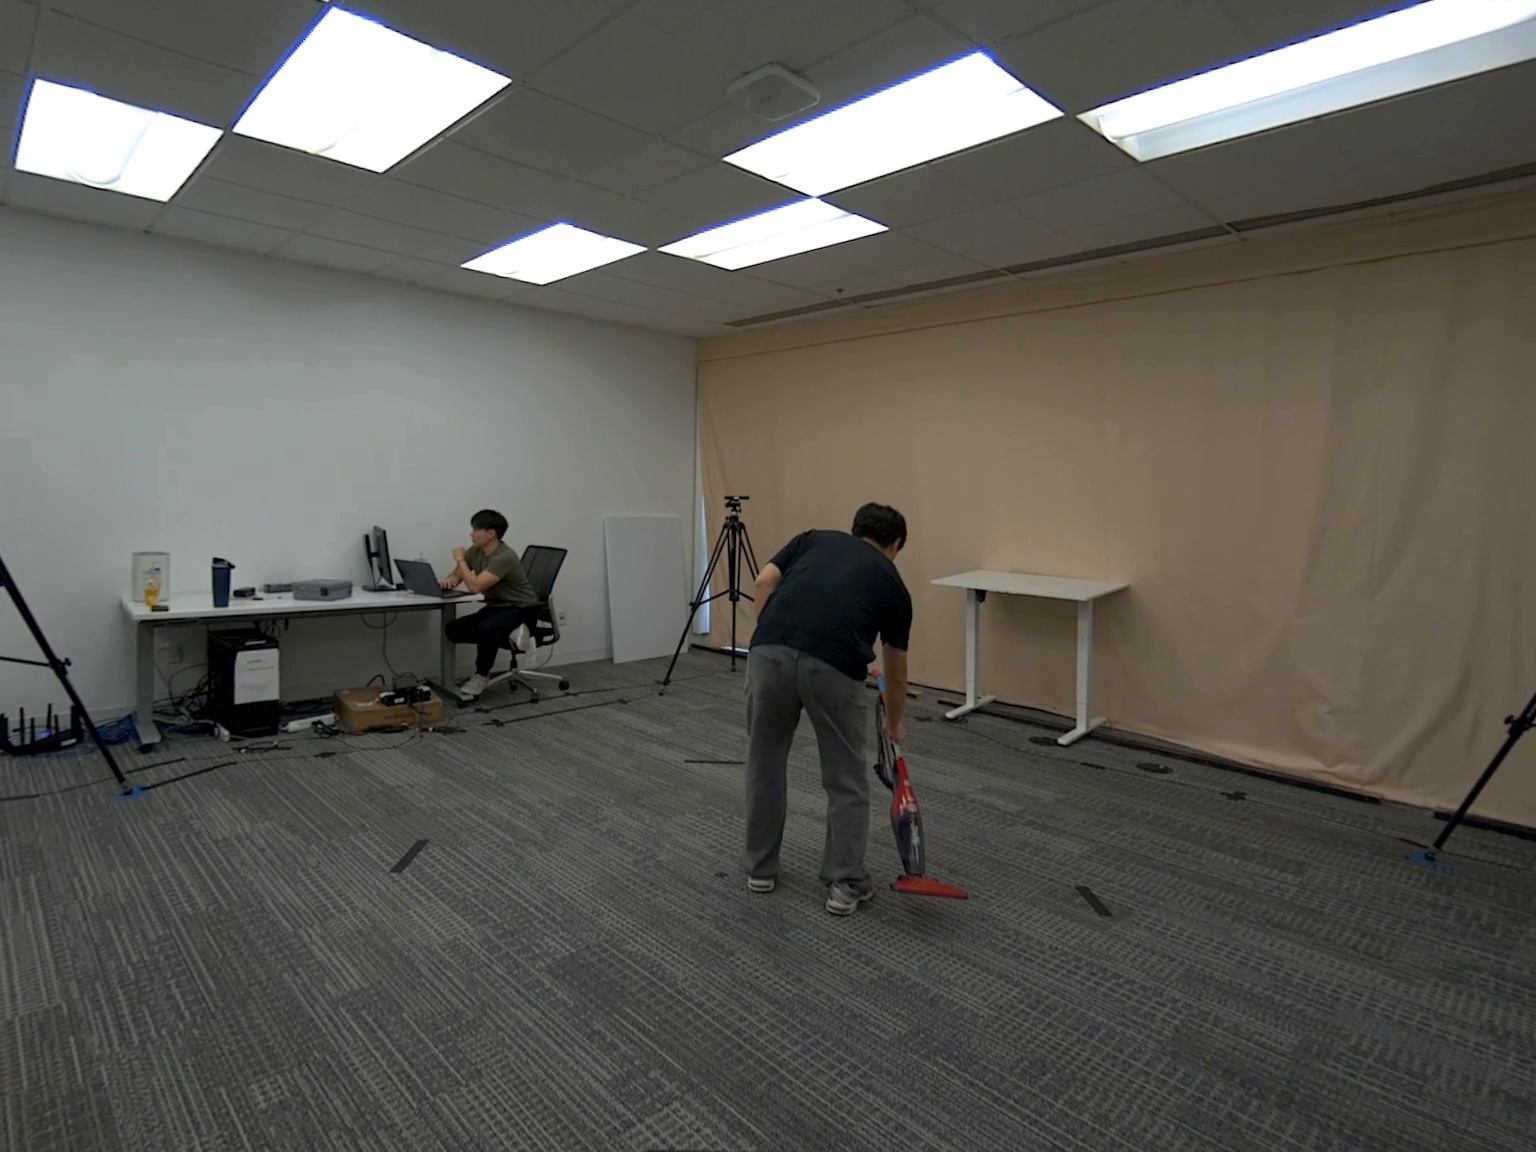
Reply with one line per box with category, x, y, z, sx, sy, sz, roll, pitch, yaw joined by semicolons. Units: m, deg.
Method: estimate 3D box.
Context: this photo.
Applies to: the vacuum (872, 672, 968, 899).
vacuum;0.488;0.730;3.185;0.251;0.141;1.073;4;36;-7
